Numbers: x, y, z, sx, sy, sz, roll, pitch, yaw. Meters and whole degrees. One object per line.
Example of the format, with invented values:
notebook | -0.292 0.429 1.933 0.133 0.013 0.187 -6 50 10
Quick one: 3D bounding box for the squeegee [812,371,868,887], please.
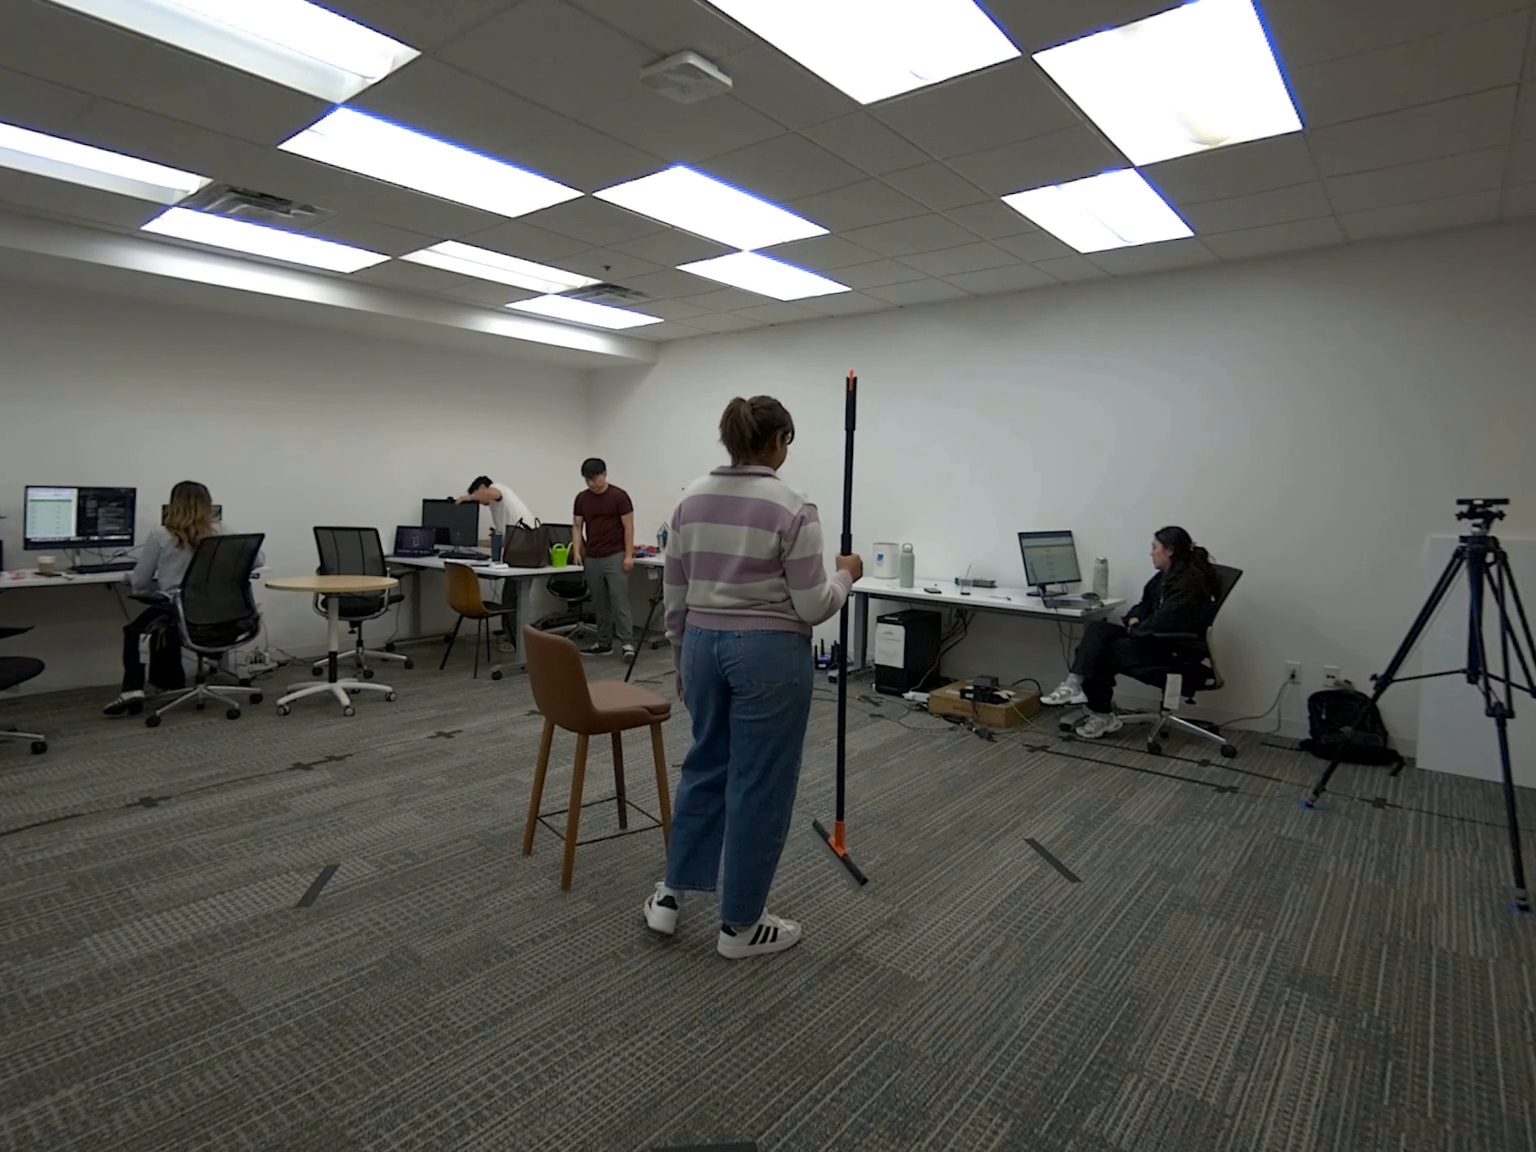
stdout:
squeegee | 0.233 0.147 2.653 0.052 1.534 0.447 1 3 -19
